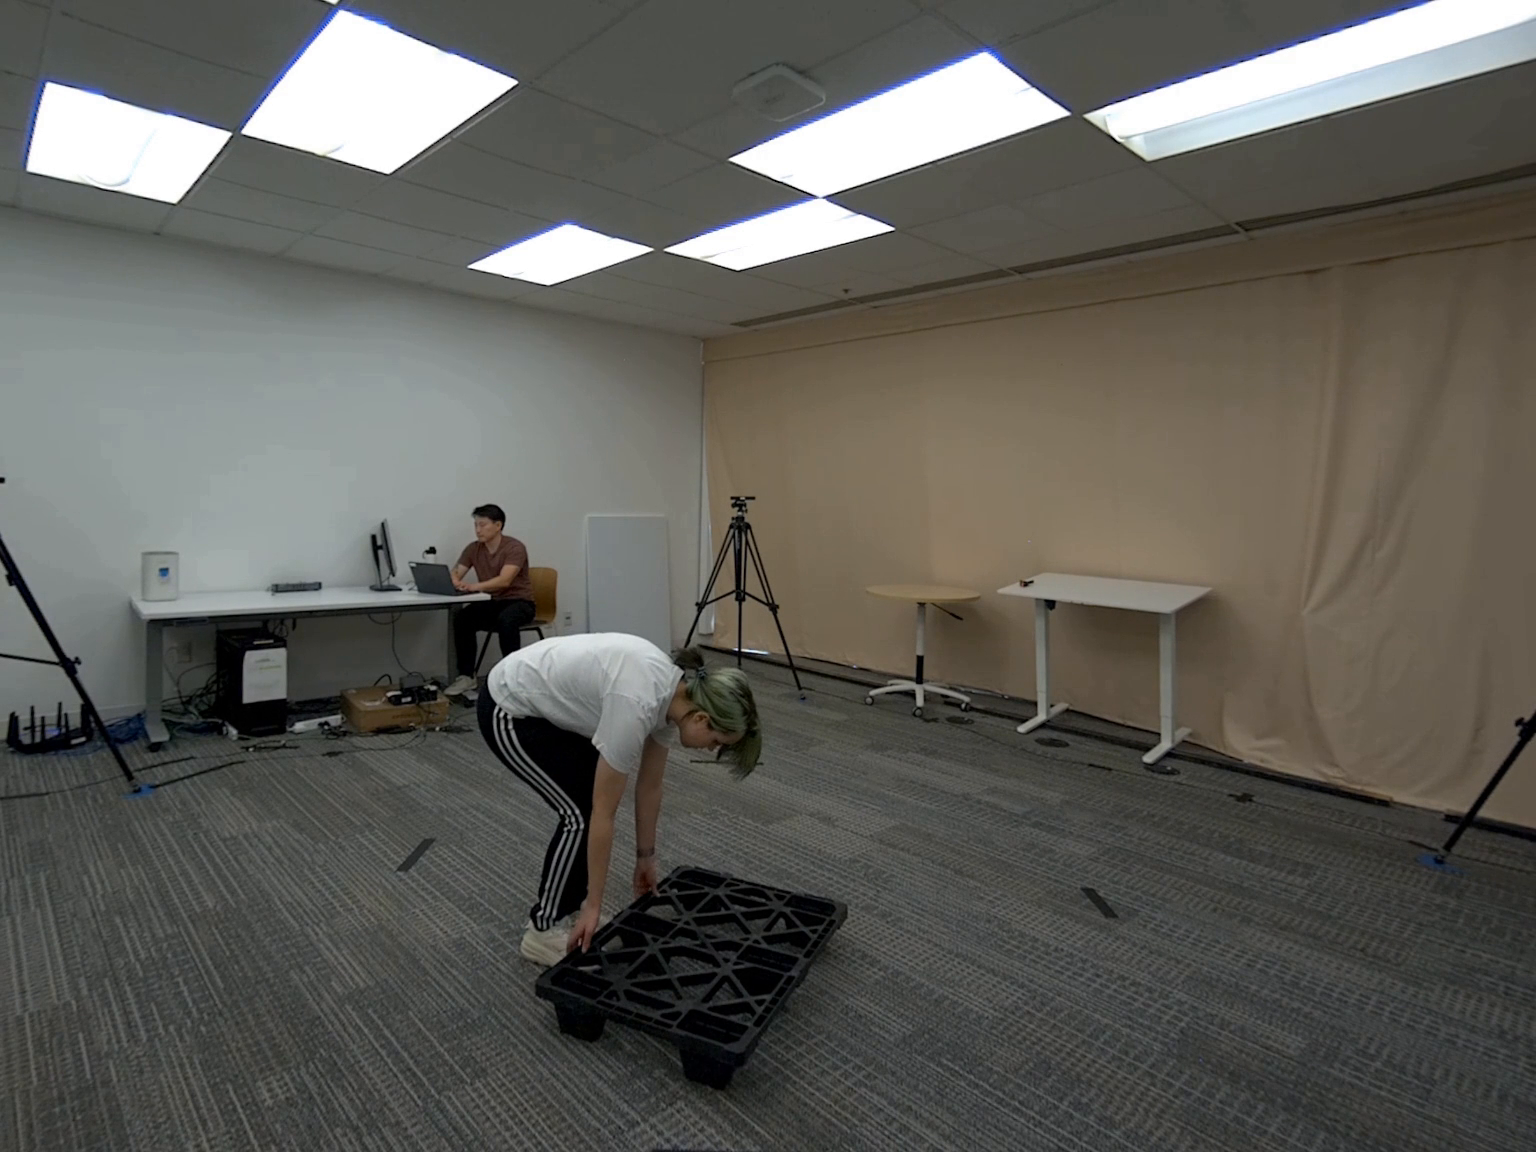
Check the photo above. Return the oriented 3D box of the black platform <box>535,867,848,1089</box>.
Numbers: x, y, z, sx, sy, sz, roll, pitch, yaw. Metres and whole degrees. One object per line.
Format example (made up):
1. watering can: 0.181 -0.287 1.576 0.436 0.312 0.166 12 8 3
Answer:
1. black platform: -0.179 1.101 2.398 0.617 0.143 0.793 5 6 24
